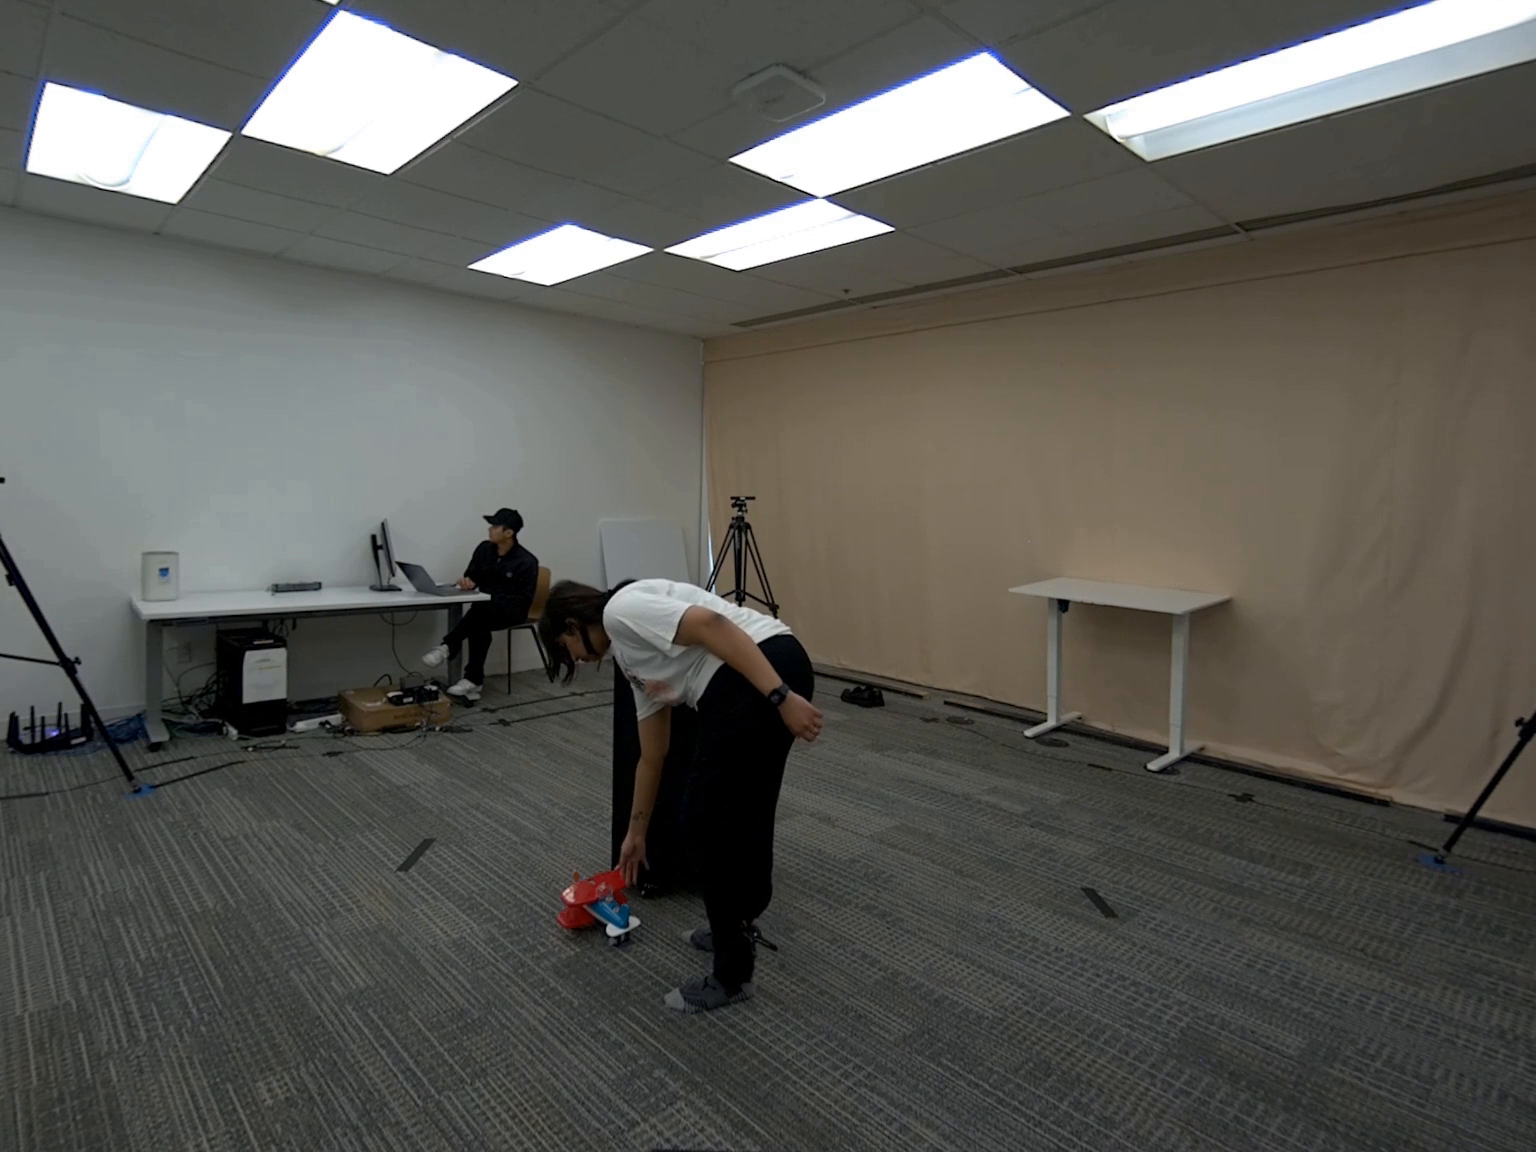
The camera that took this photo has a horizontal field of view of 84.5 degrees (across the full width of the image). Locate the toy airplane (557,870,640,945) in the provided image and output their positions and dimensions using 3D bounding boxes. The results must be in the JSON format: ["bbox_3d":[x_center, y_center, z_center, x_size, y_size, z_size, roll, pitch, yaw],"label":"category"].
[{"bbox_3d":[-0.531,1.063,2.687,0.262,0.156,0.249,0,5,14],"label":"toy airplane"}]
